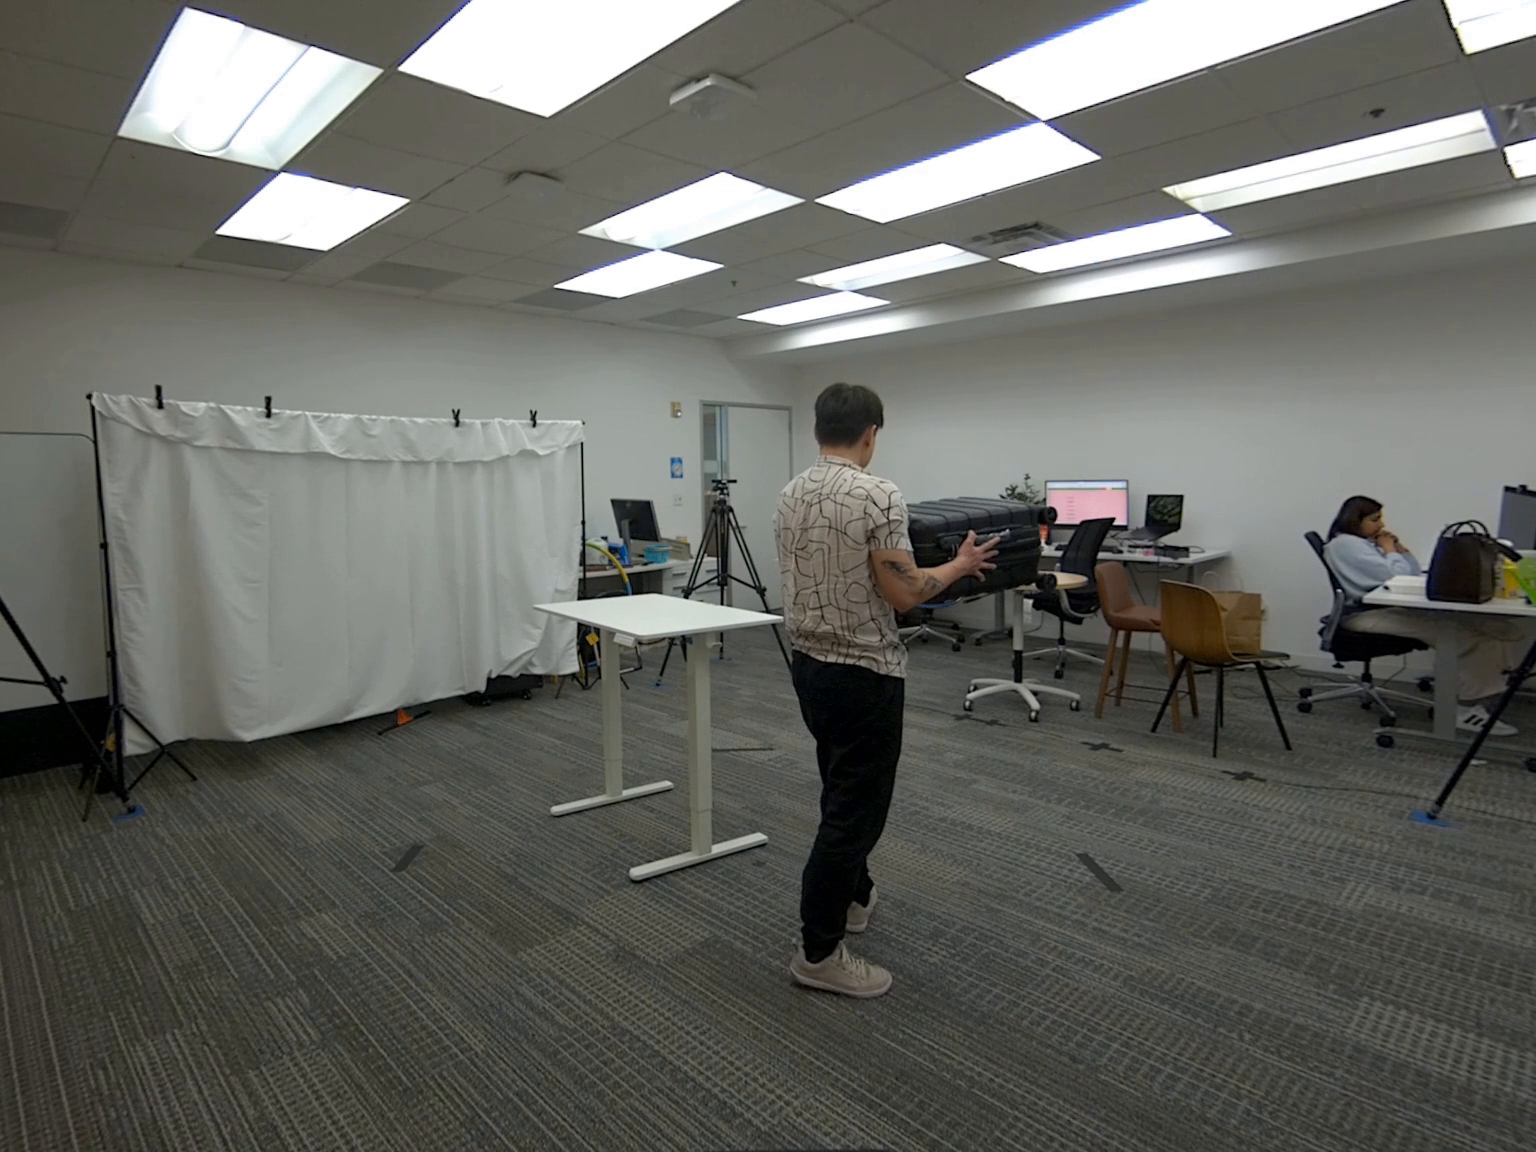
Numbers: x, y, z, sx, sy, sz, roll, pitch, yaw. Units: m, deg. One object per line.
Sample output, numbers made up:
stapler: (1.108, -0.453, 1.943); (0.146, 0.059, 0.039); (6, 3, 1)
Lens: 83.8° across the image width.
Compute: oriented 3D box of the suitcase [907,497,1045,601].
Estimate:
suitcase: (0.569, -0.093, 2.633); (0.538, 0.246, 0.386); (-8, 11, -29)
